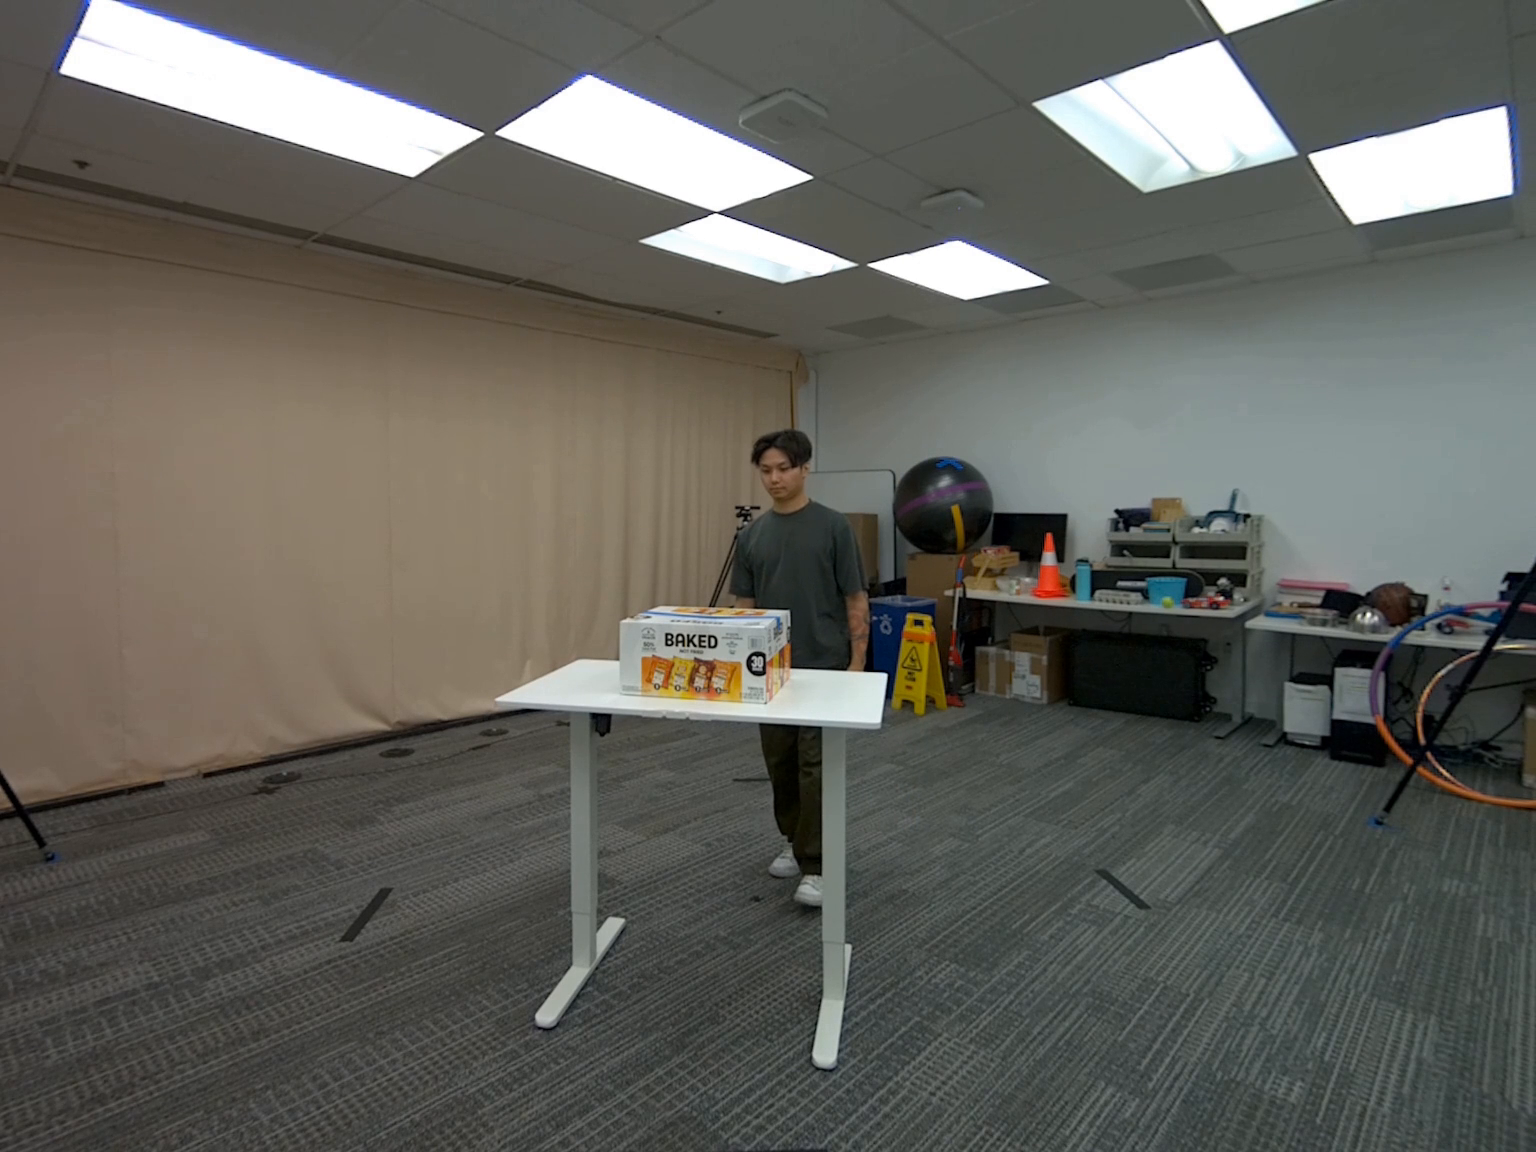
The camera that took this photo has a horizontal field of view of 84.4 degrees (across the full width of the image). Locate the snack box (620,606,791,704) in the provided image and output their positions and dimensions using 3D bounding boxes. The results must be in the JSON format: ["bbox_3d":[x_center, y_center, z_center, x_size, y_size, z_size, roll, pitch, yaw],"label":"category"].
[{"bbox_3d":[-0.162,0.212,2.379,0.411,0.205,0.336,1,4,13],"label":"snack box"}]
